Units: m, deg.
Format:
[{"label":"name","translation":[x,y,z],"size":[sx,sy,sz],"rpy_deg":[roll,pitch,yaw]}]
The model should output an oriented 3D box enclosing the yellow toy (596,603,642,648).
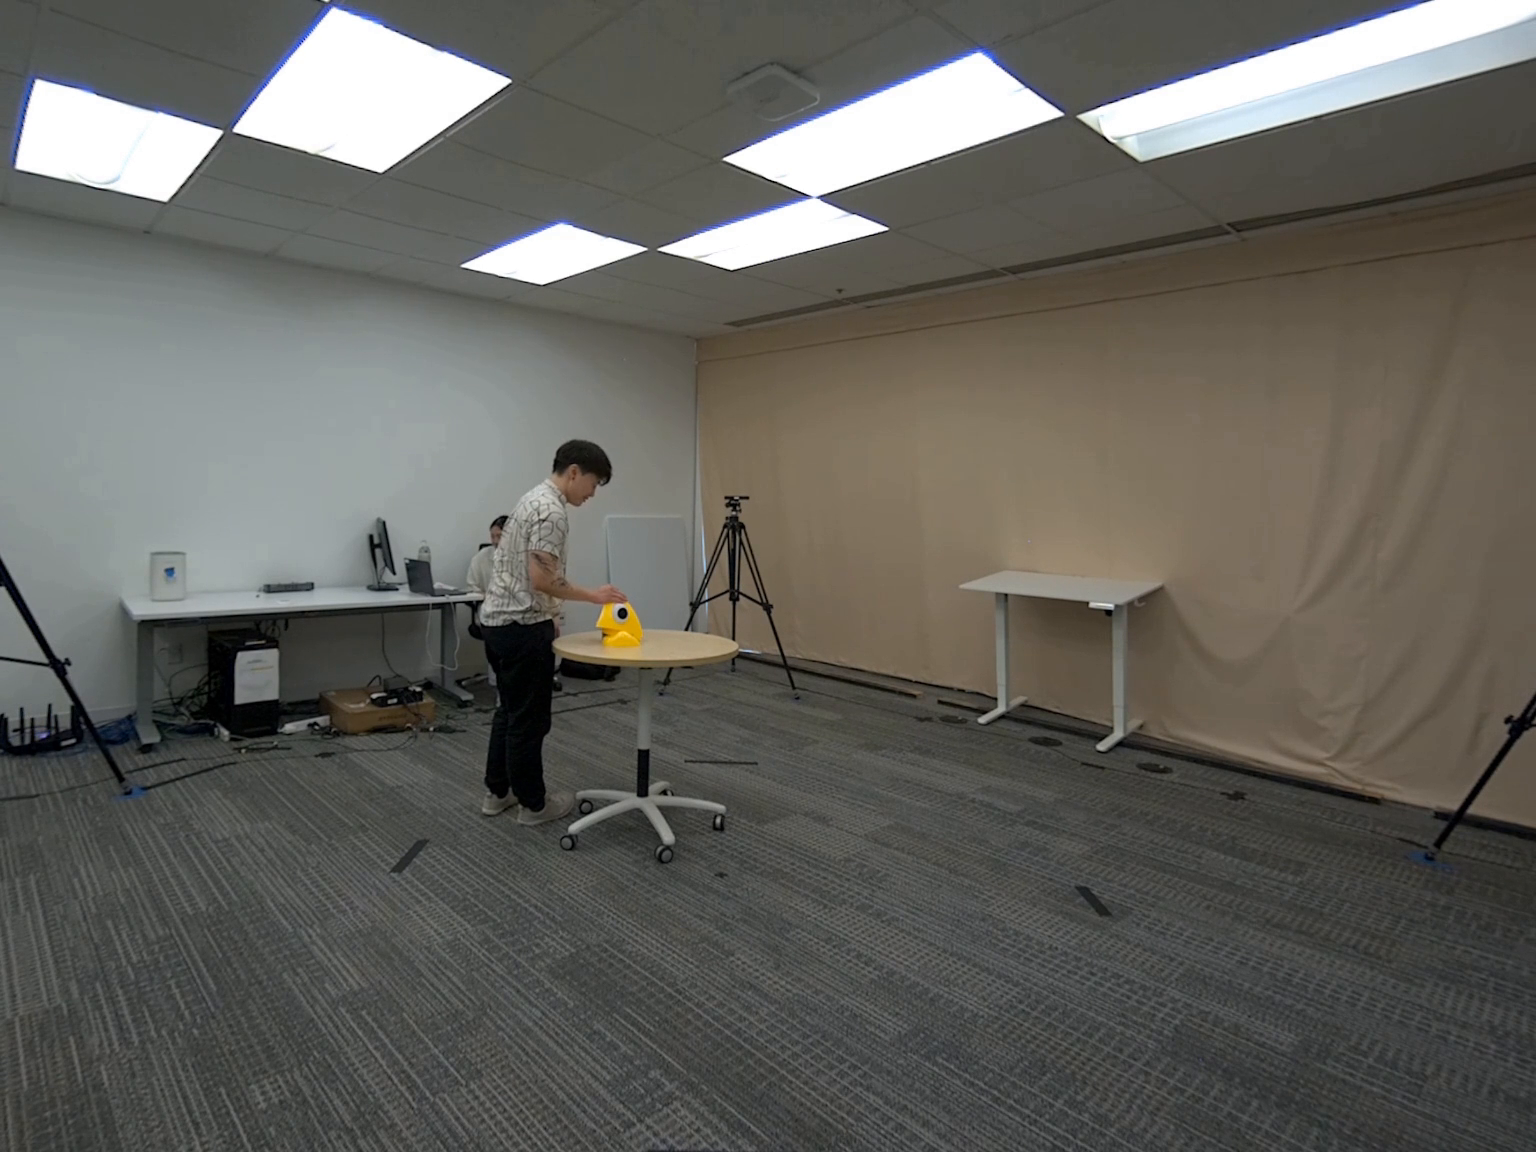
[{"label":"yellow toy","translation":[-0.627,0.161,3.483],"size":[0.192,0.230,0.206],"rpy_deg":[1,3,-7]}]
